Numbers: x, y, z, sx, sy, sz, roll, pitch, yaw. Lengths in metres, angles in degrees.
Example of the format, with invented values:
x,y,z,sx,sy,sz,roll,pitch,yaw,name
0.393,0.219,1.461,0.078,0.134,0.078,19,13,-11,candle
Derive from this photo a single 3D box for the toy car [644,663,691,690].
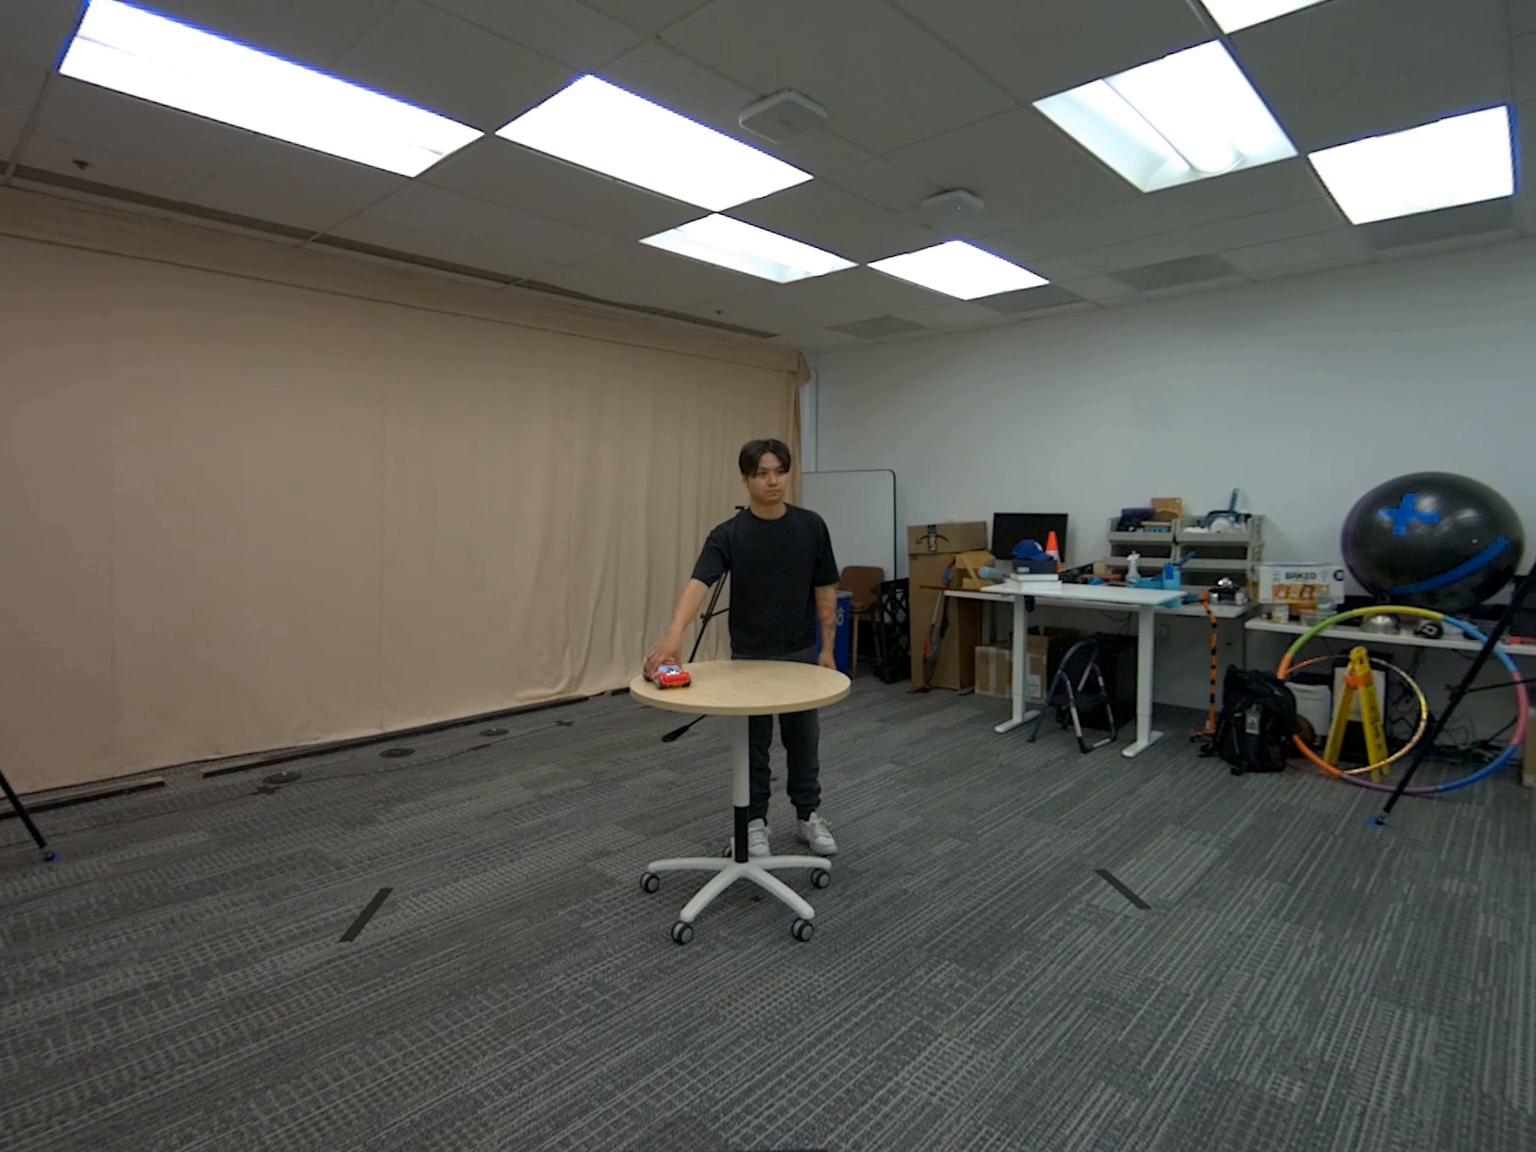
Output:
x,y,z,sx,sy,sz,roll,pitch,yaw,name
-0.355,0.339,2.928,0.127,0.082,0.262,-2,15,-23,toy car
